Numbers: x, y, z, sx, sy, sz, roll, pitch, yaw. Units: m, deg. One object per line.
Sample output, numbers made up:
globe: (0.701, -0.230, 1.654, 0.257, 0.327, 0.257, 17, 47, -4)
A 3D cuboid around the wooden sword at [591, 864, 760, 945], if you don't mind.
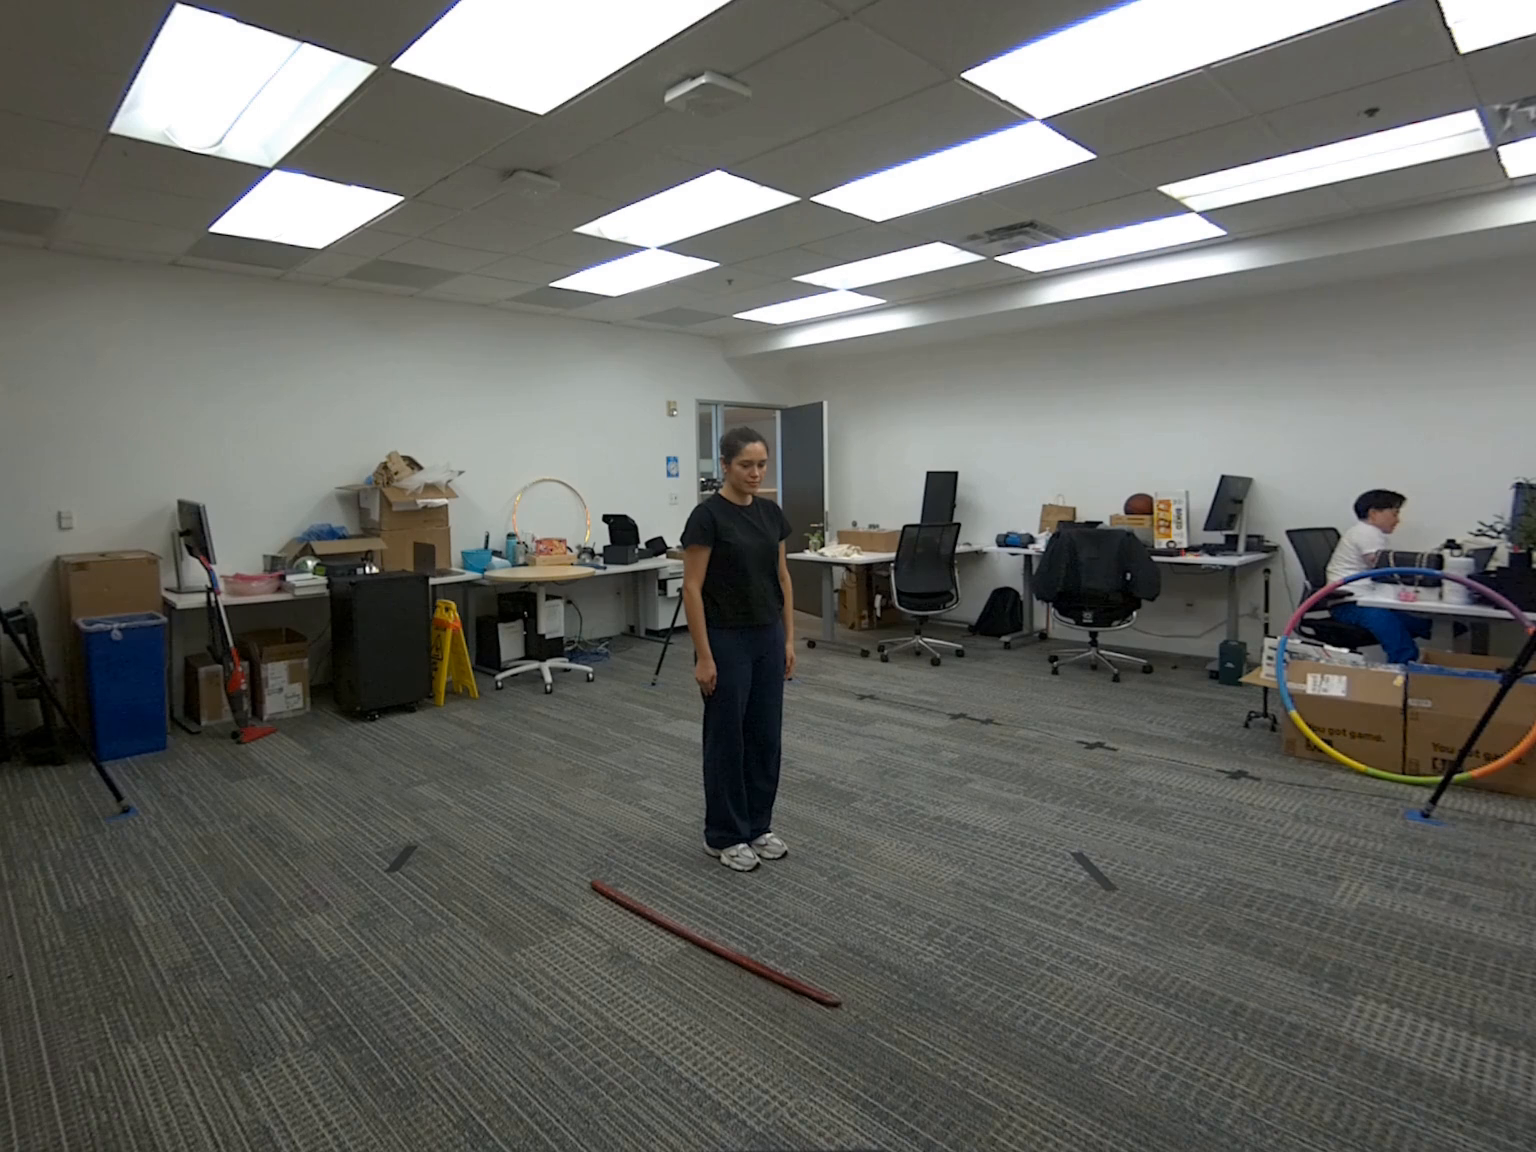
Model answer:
wooden sword: (-0.212, 1.084, 2.619, 1.056, 0.023, 0.051, 4, 39, 40)
